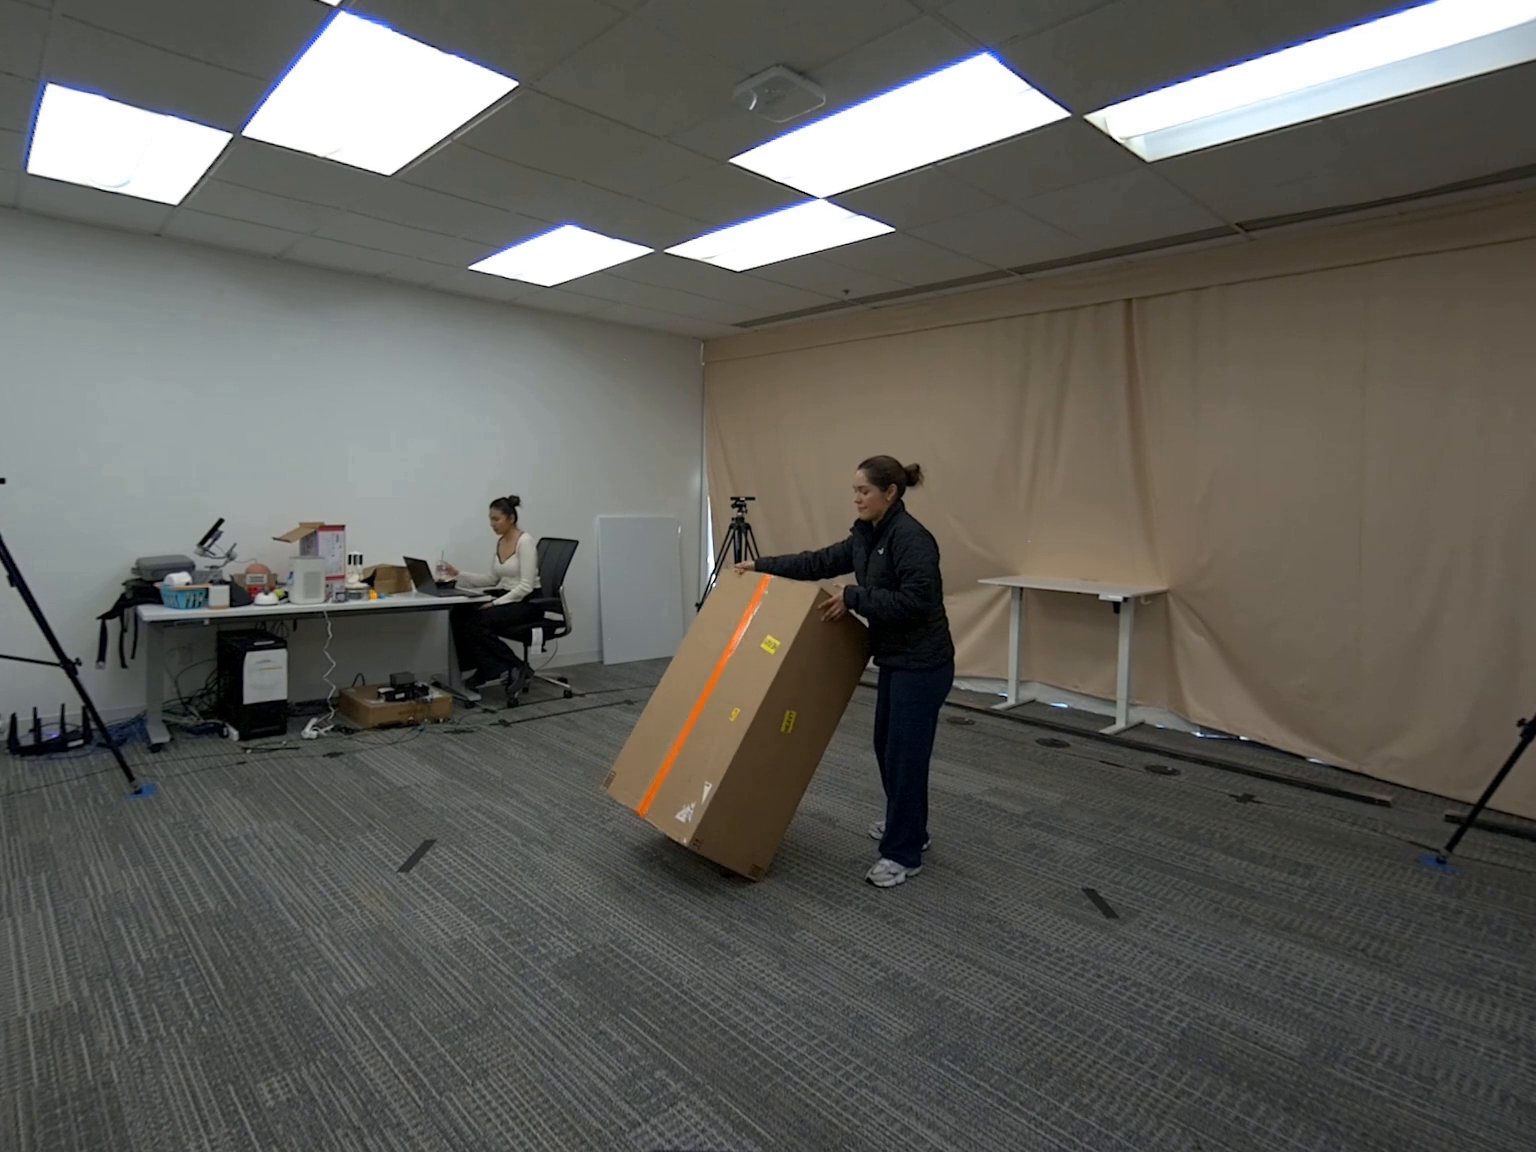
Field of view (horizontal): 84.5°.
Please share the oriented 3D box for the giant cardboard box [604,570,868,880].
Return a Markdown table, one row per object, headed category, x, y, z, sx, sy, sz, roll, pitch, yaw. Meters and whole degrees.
| category | x | y | z | sx | sy | sz | roll | pitch | yaw |
| --- | --- | --- | --- | --- | --- | --- | --- | --- | --- |
| giant cardboard box | -0.111 | 0.543 | 3.278 | 0.593 | 1.030 | 0.413 | 11 | -23 | 48 |
